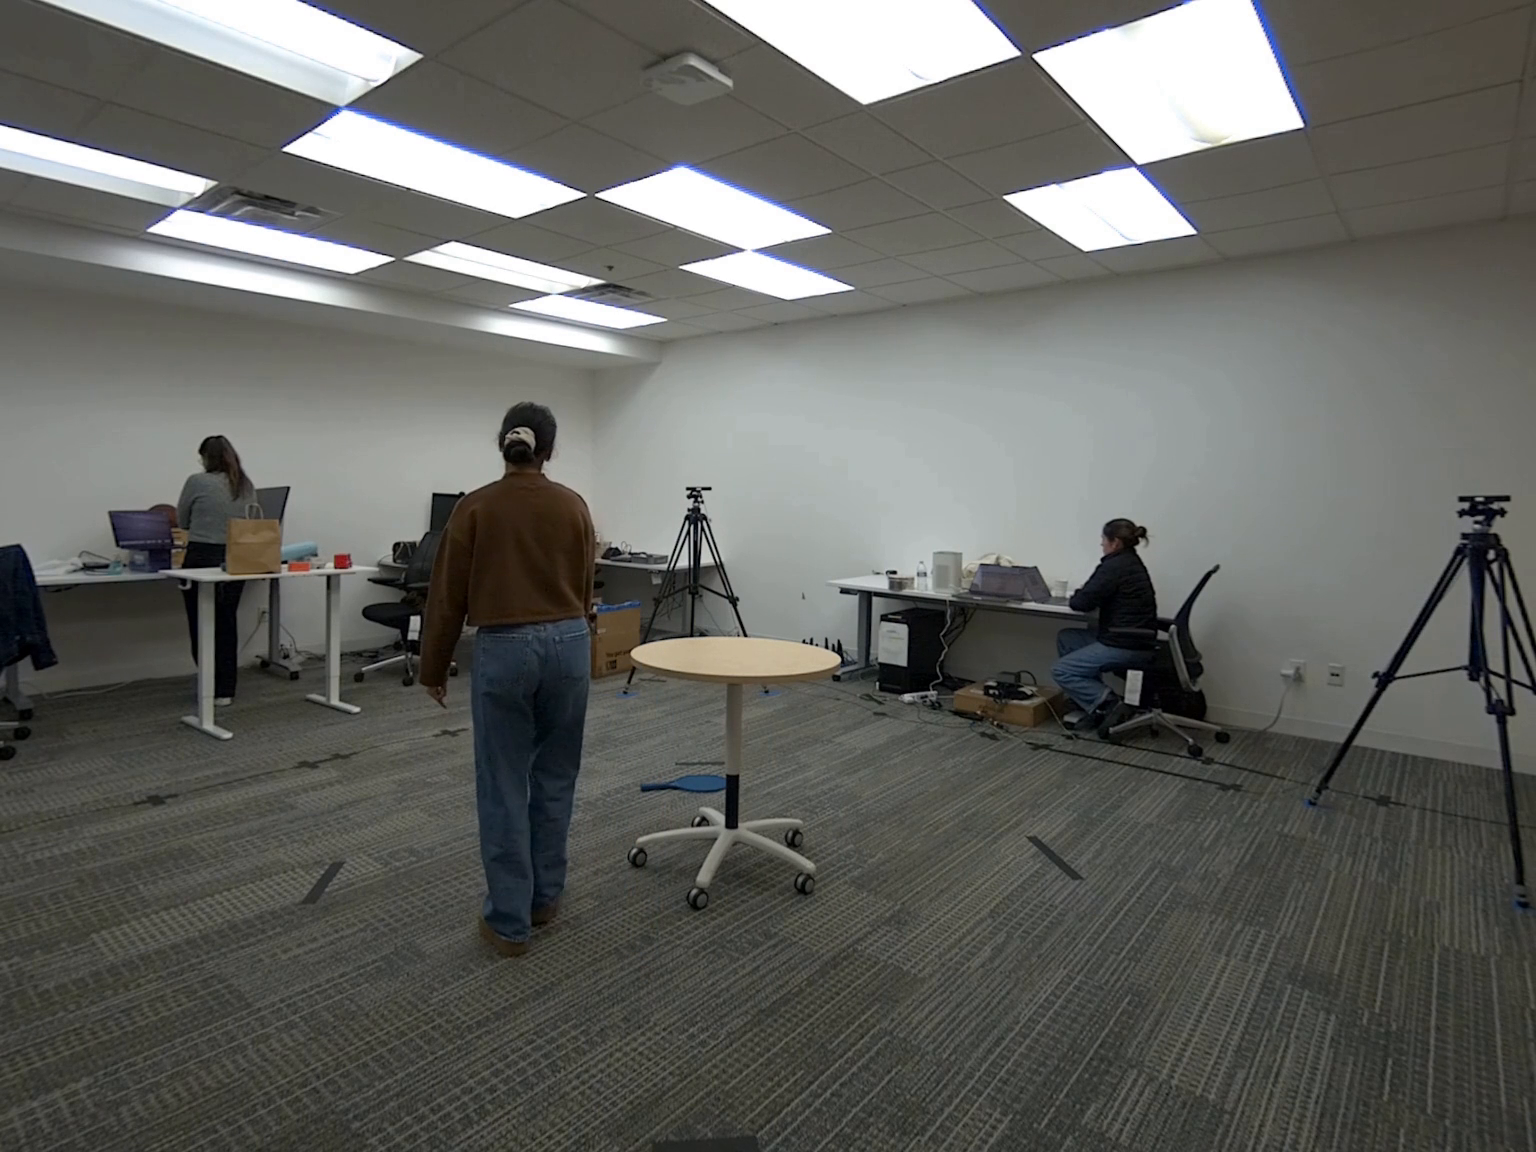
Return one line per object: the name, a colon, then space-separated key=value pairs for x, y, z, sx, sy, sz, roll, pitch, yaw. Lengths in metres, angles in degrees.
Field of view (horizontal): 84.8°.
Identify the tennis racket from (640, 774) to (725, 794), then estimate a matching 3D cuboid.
tennis racket: x=-0.398 y=0.968 z=3.973 sx=0.425 sy=0.031 sz=0.218 roll=0 pitch=5 yaw=-18
